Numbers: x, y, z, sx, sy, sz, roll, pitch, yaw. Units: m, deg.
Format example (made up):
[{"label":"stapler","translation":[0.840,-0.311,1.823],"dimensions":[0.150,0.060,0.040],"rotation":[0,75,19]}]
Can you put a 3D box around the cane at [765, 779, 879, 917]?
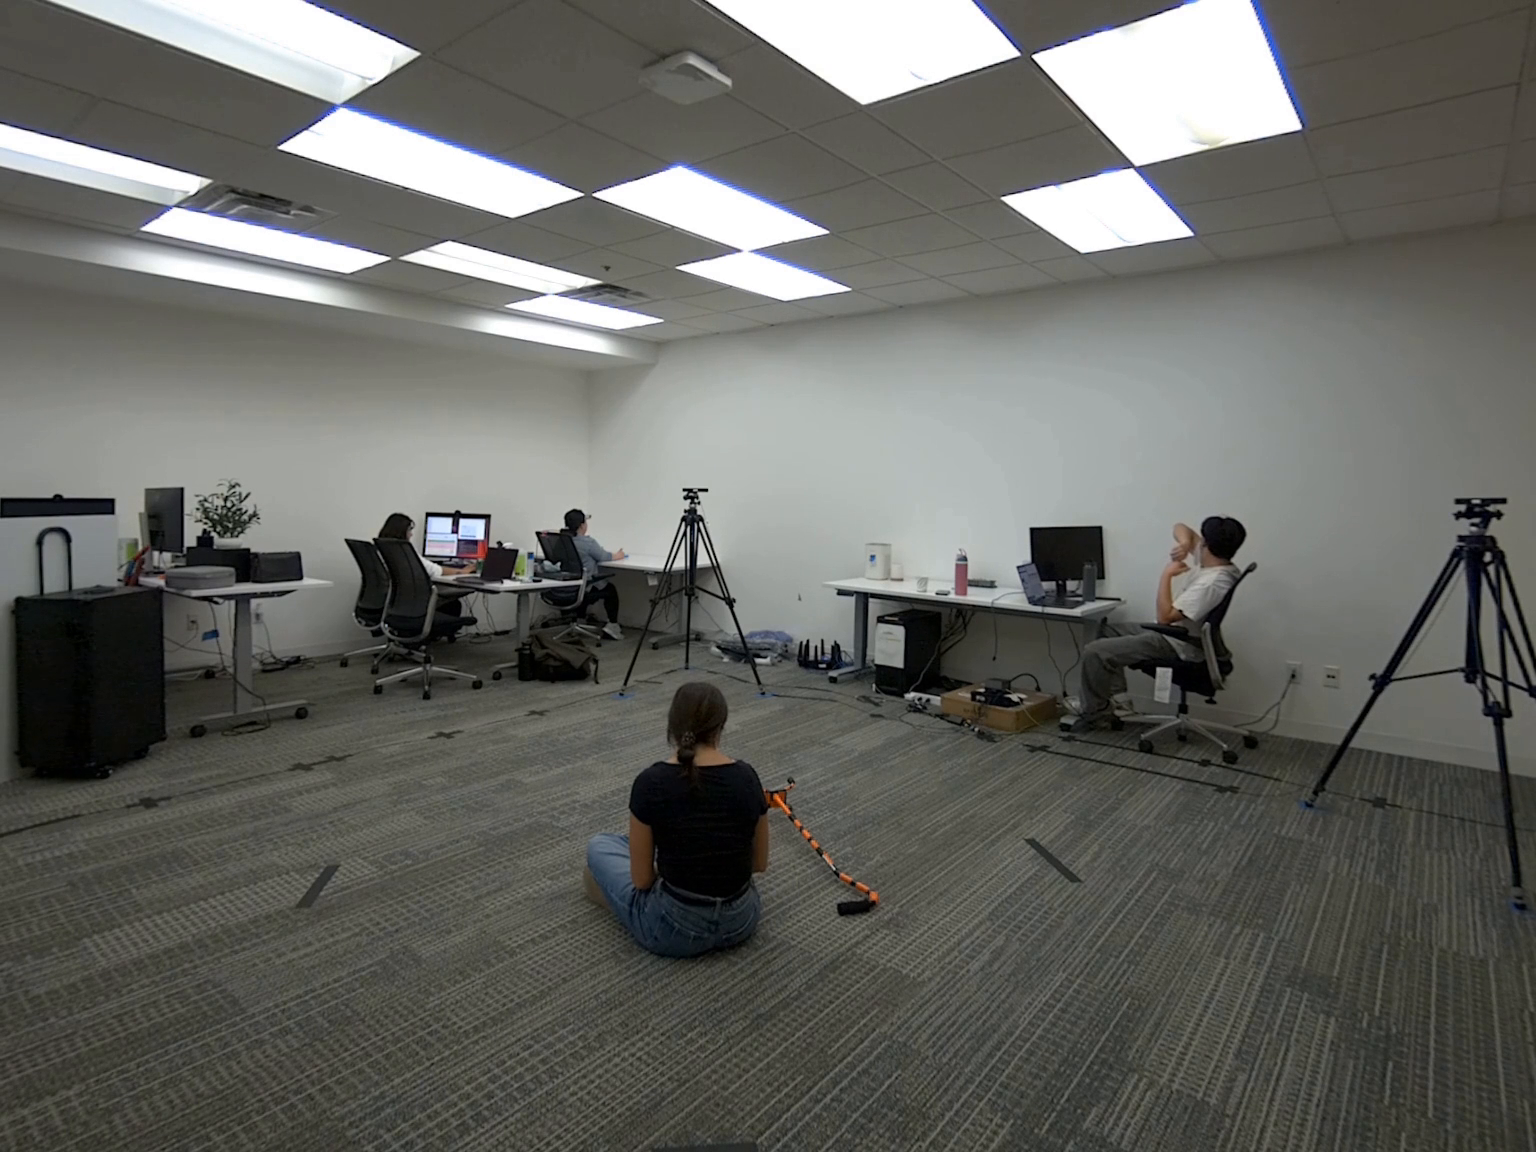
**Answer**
[{"label":"cane","translation":[0.169,1.012,3.246],"dimensions":[0.202,0.150,0.932],"rotation":[0,10,-19]}]
